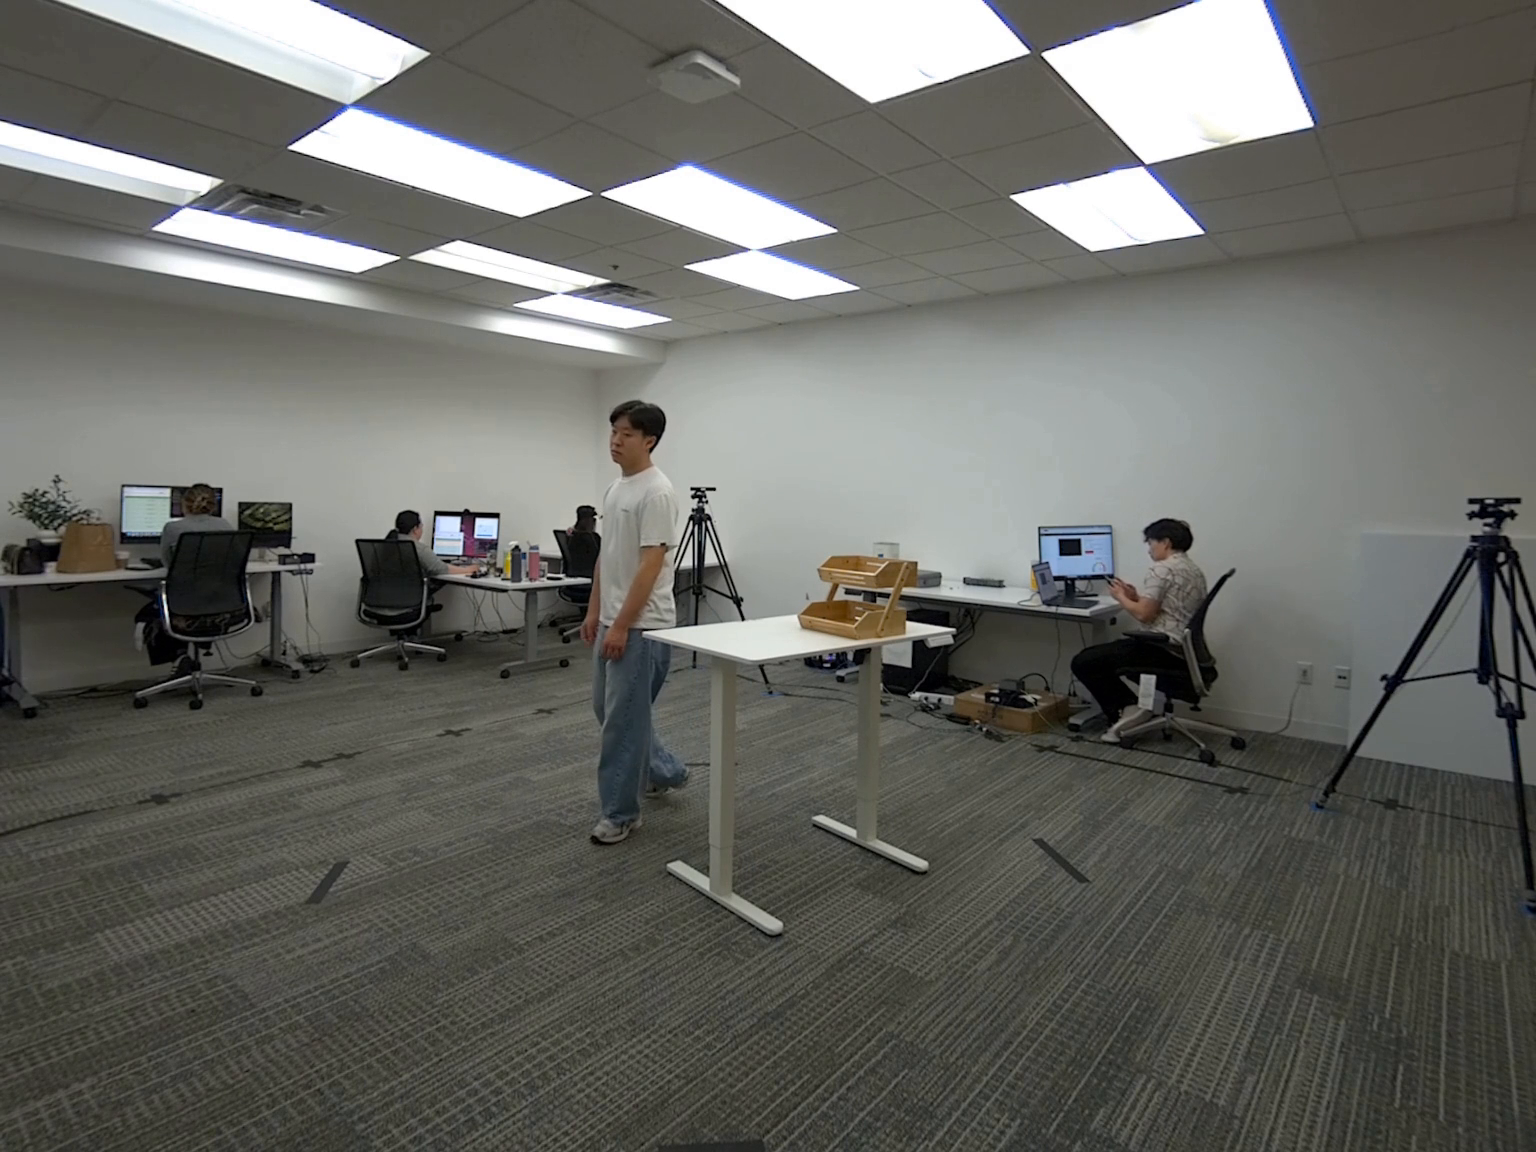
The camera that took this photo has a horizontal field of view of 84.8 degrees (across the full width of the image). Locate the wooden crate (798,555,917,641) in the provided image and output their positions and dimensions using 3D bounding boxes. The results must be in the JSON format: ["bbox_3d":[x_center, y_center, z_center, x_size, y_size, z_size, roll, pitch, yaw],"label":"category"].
[{"bbox_3d":[0.312,0.062,3.074,0.293,0.272,0.335,-1,5,-37],"label":"wooden crate"}]
